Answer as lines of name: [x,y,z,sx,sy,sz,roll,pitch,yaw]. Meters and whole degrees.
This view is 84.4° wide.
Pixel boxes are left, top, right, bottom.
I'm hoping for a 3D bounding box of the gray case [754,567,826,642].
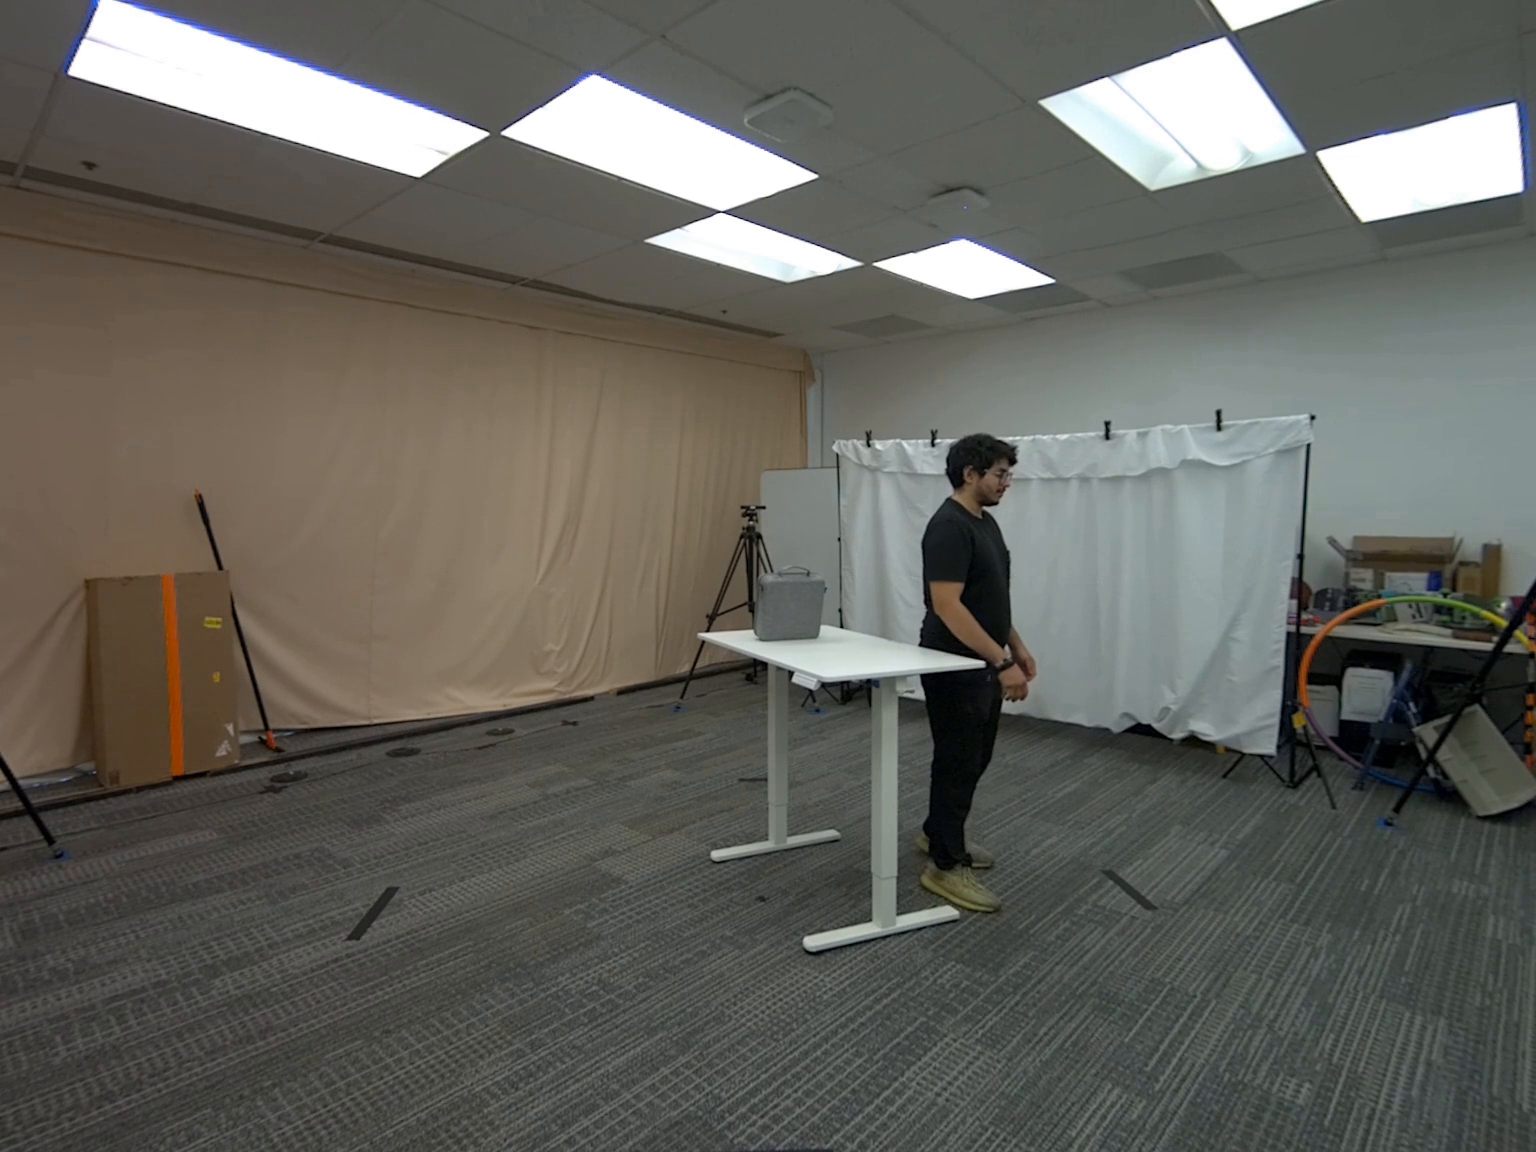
gray case: [0.087,0.112,3.212,0.253,0.259,0.106,0,9,-15]
